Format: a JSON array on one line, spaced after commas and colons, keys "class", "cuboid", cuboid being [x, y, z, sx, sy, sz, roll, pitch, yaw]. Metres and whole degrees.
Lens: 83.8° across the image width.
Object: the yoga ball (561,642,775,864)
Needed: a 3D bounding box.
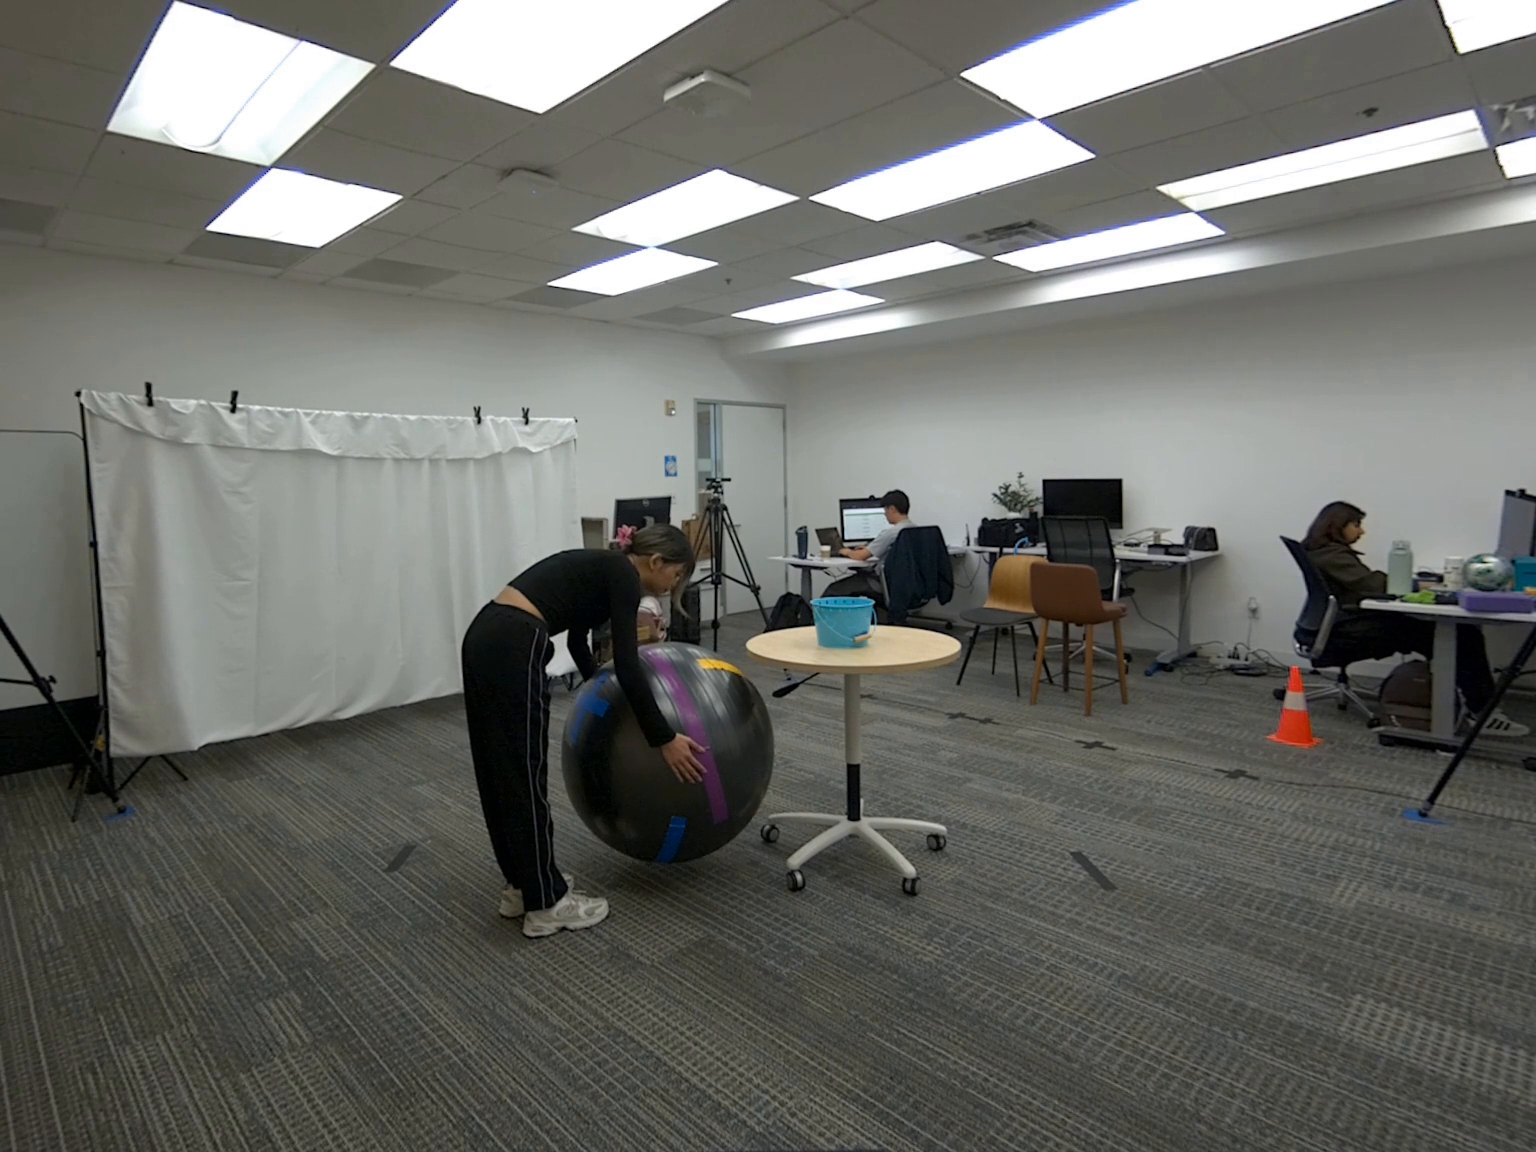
[{"class": "yoga ball", "cuboid": [-0.361, 0.625, 3.044, 0.757, 0.755, 0.762, -1, 5, -2]}]
